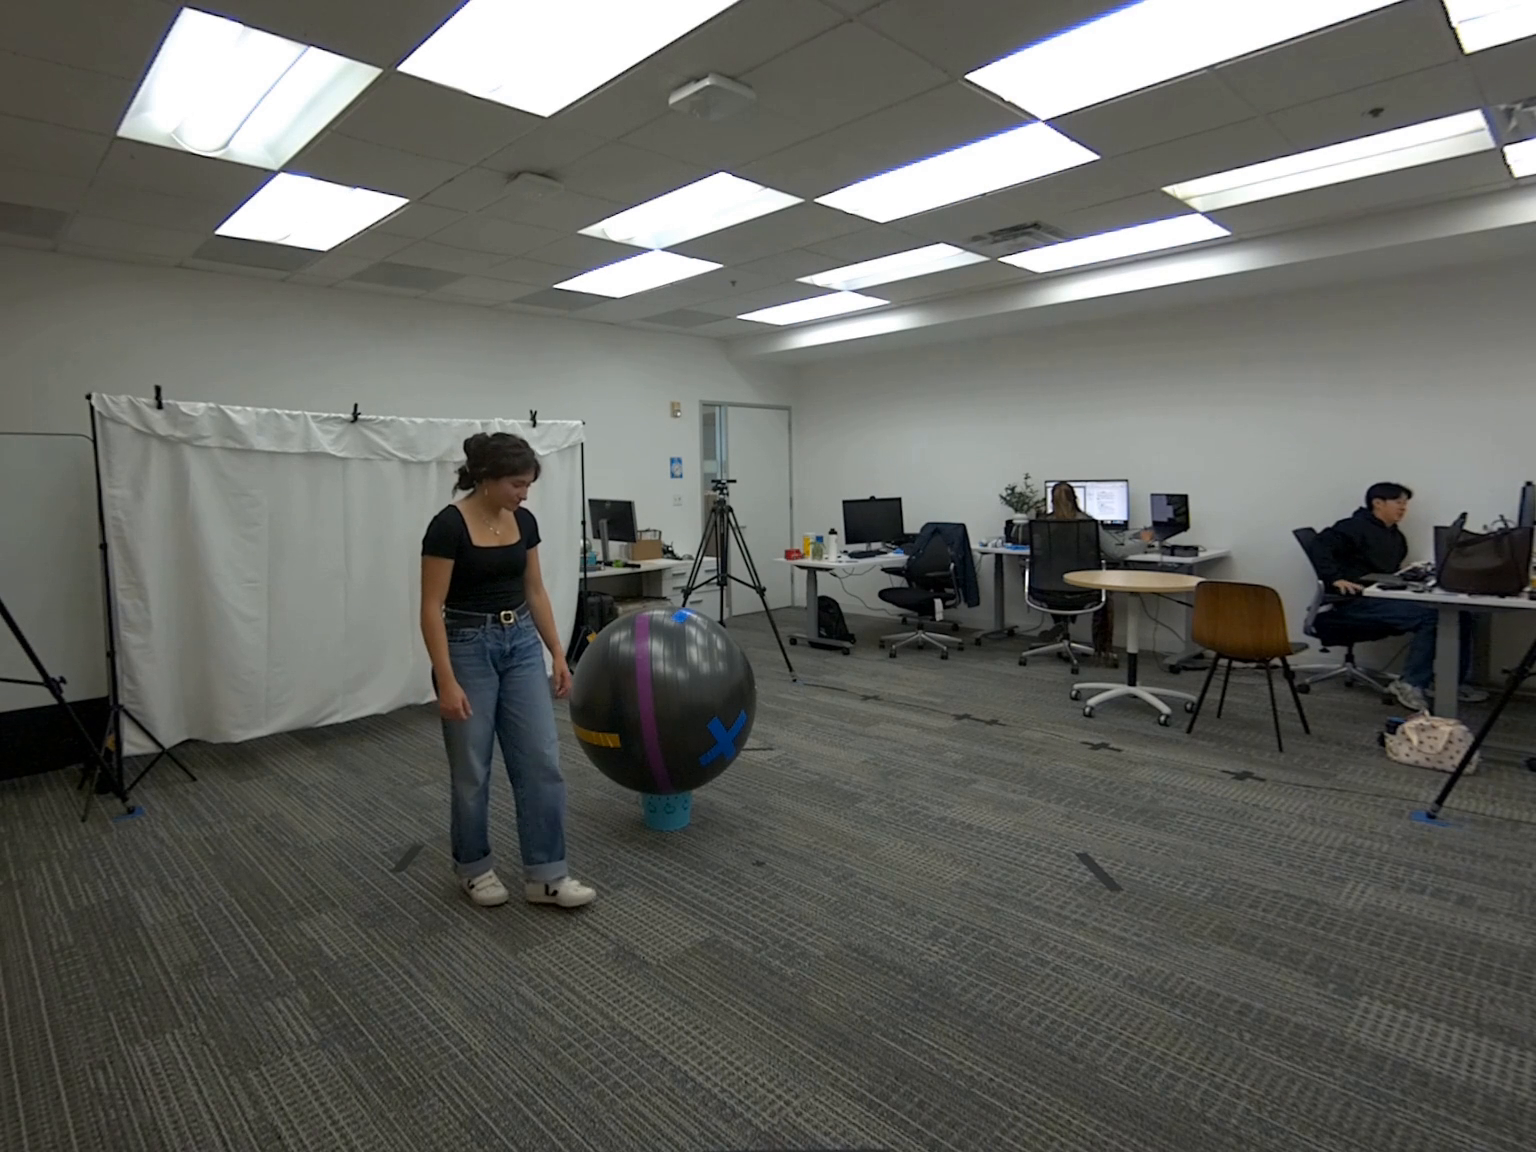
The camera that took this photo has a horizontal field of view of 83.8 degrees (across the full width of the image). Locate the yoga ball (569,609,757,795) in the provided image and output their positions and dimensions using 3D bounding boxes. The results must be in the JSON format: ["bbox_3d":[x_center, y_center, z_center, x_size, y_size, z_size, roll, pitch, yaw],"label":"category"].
[{"bbox_3d":[-0.427,0.500,3.491,0.757,0.755,0.762,-1,5,-2],"label":"yoga ball"}]
